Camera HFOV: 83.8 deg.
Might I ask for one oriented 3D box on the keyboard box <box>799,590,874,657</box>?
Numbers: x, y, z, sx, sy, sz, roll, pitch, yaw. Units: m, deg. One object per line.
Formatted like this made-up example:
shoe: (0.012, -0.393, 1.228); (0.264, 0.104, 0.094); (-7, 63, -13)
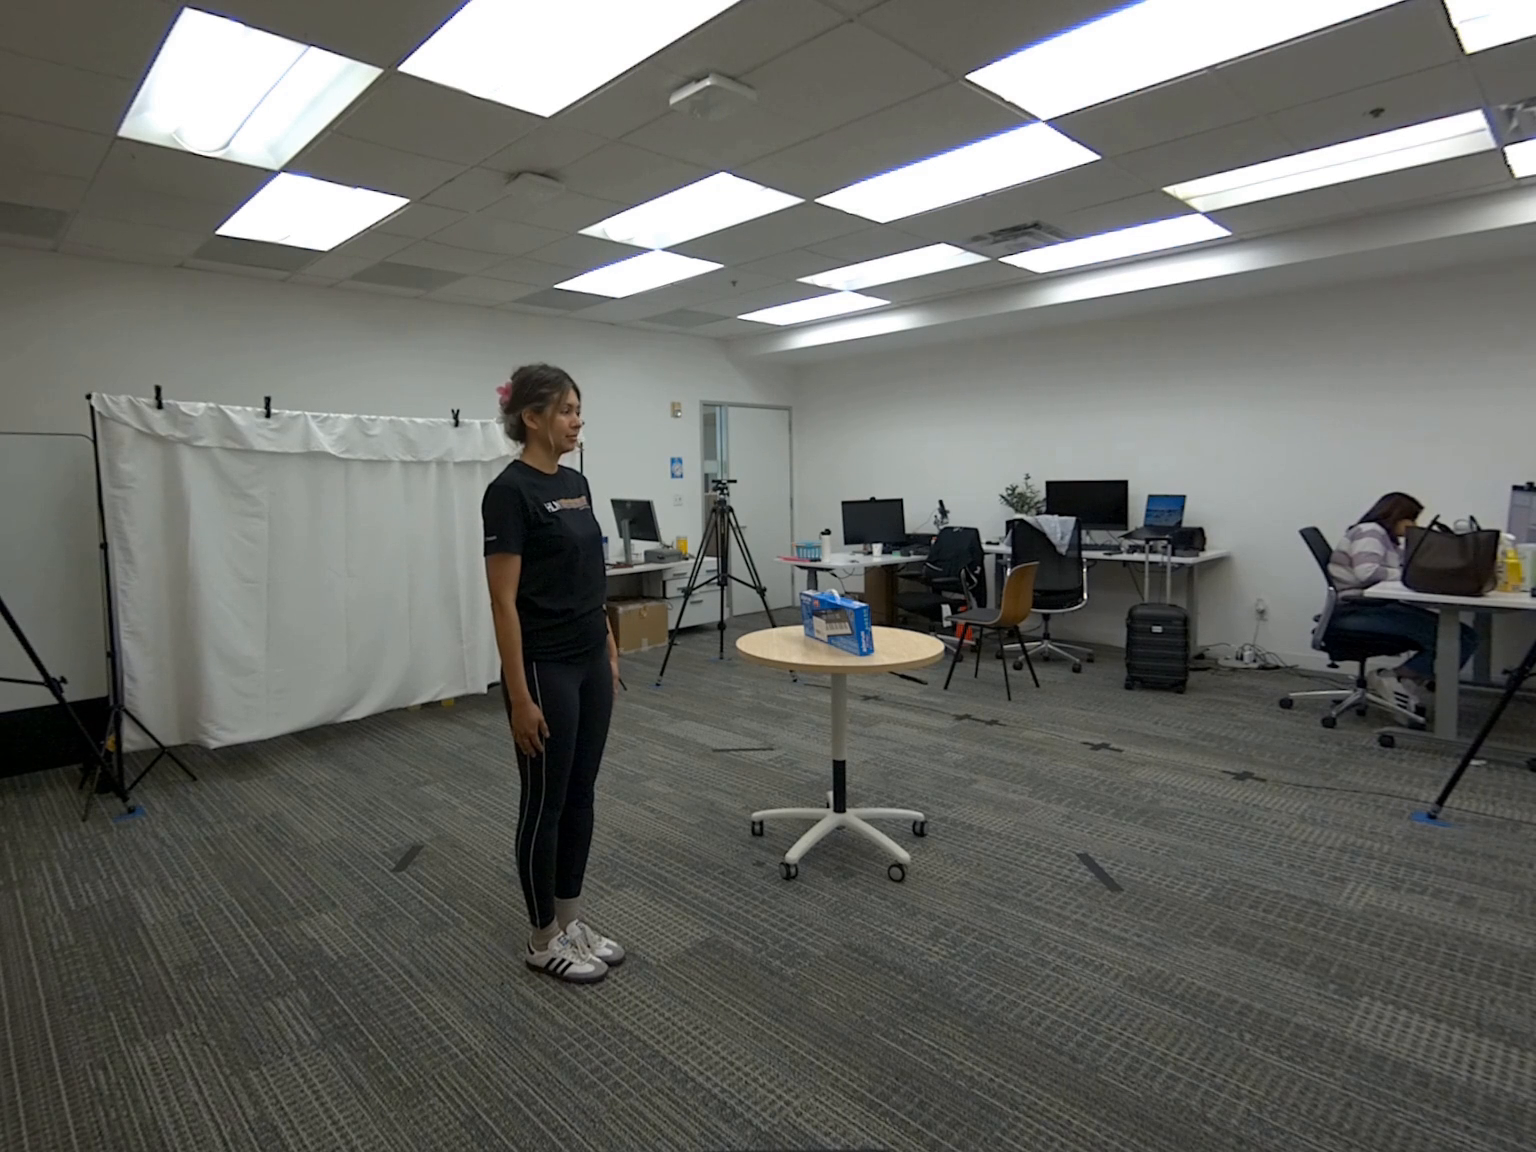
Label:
keyboard box: (0.247, 0.167, 3.147); (0.058, 0.174, 0.447); (-10, 9, -21)
